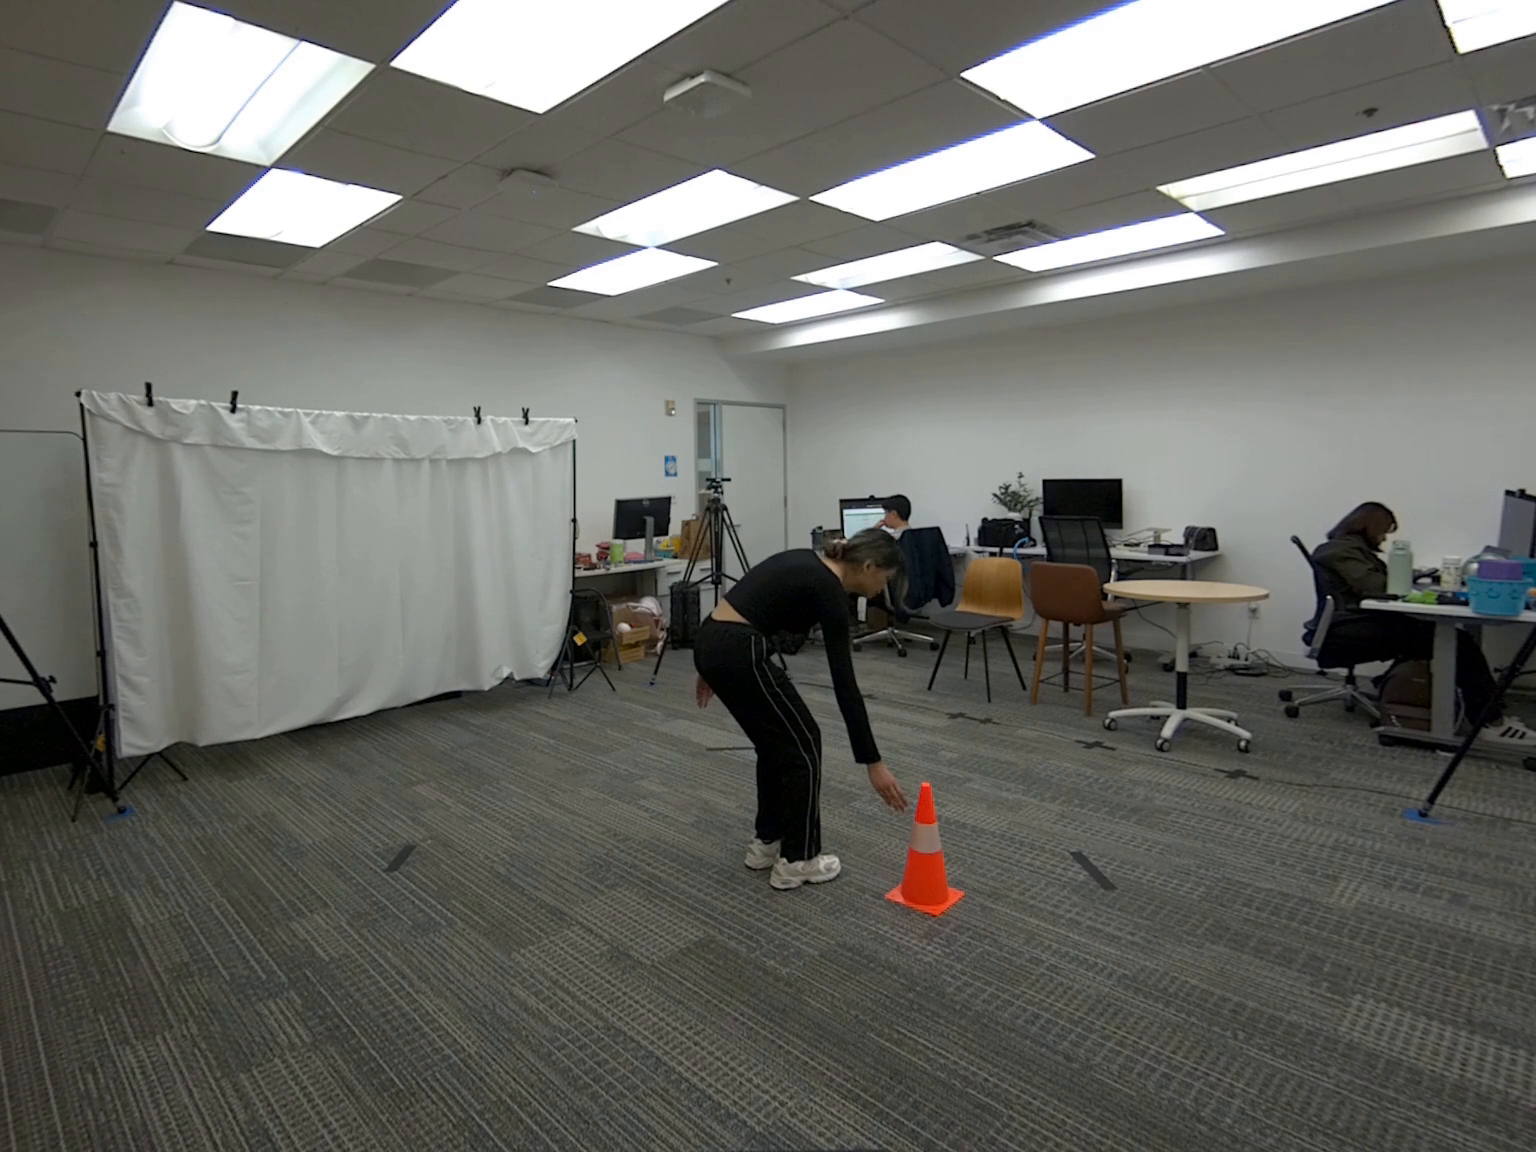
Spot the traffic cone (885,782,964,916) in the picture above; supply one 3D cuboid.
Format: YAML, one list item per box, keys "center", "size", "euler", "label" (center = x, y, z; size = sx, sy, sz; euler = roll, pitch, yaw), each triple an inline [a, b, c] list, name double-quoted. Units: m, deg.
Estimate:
- center: [0.522, 0.879, 2.830]
  size: [0.200, 0.382, 0.209]
  euler: [-6, 6, -37]
  label: "traffic cone"
